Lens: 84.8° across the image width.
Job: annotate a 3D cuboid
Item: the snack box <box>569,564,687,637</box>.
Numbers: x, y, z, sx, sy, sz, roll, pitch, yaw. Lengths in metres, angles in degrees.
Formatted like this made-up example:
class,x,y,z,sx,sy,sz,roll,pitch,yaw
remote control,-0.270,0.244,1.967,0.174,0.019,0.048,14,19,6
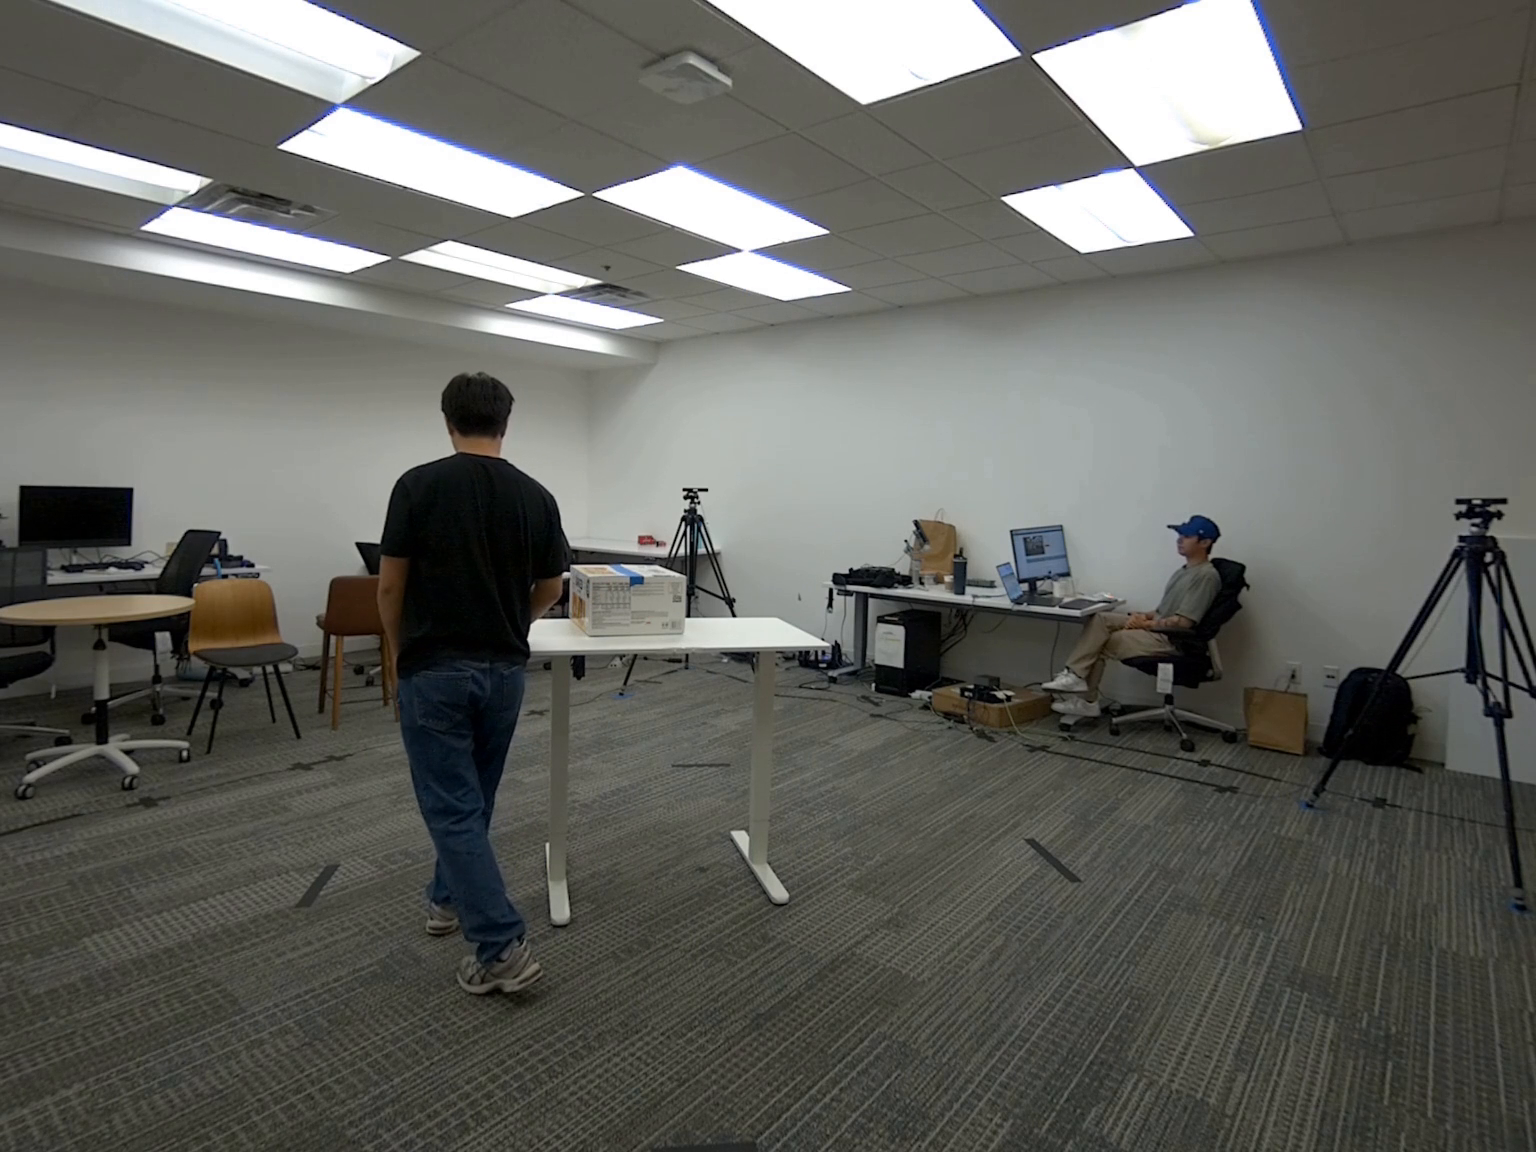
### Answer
class,x,y,z,sx,sy,sz,roll,pitch,yaw
snack box,-0.529,0.079,3.085,0.333,0.205,0.415,0,6,-21
